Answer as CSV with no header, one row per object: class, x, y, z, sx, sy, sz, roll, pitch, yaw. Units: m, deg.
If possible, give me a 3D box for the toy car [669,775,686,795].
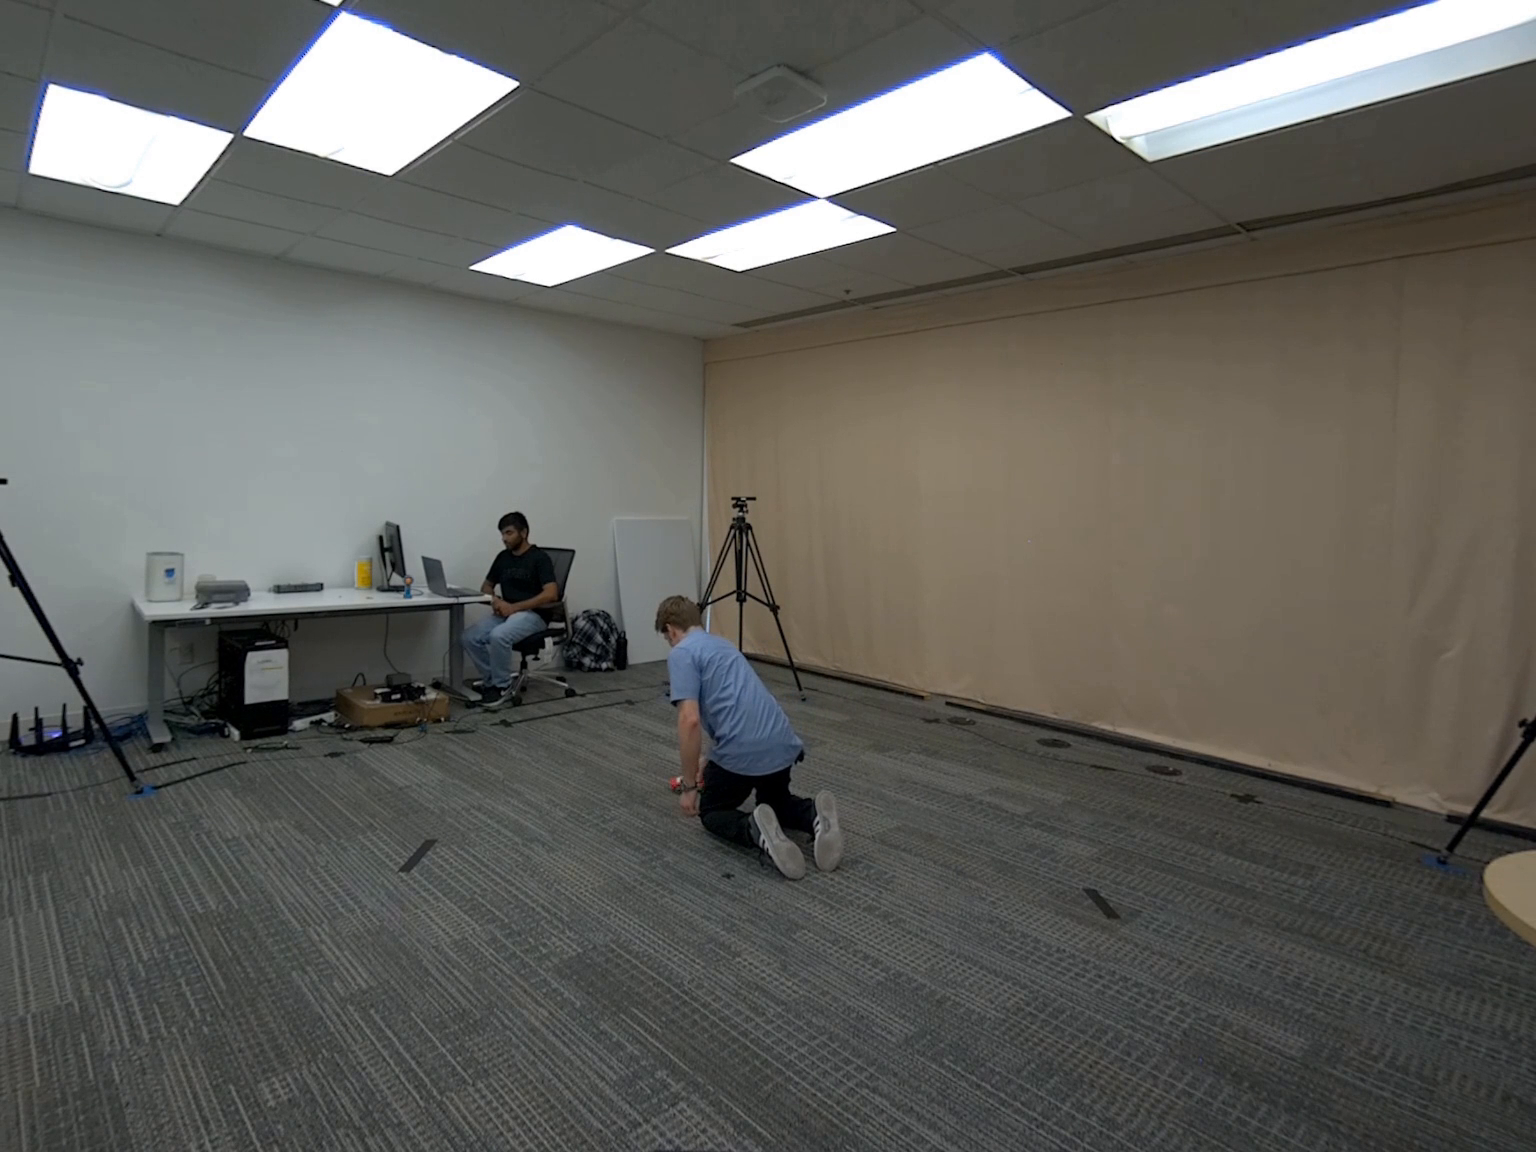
toy car,-0.348,0.993,4.019,0.253,0.083,0.131,-10,6,-9
